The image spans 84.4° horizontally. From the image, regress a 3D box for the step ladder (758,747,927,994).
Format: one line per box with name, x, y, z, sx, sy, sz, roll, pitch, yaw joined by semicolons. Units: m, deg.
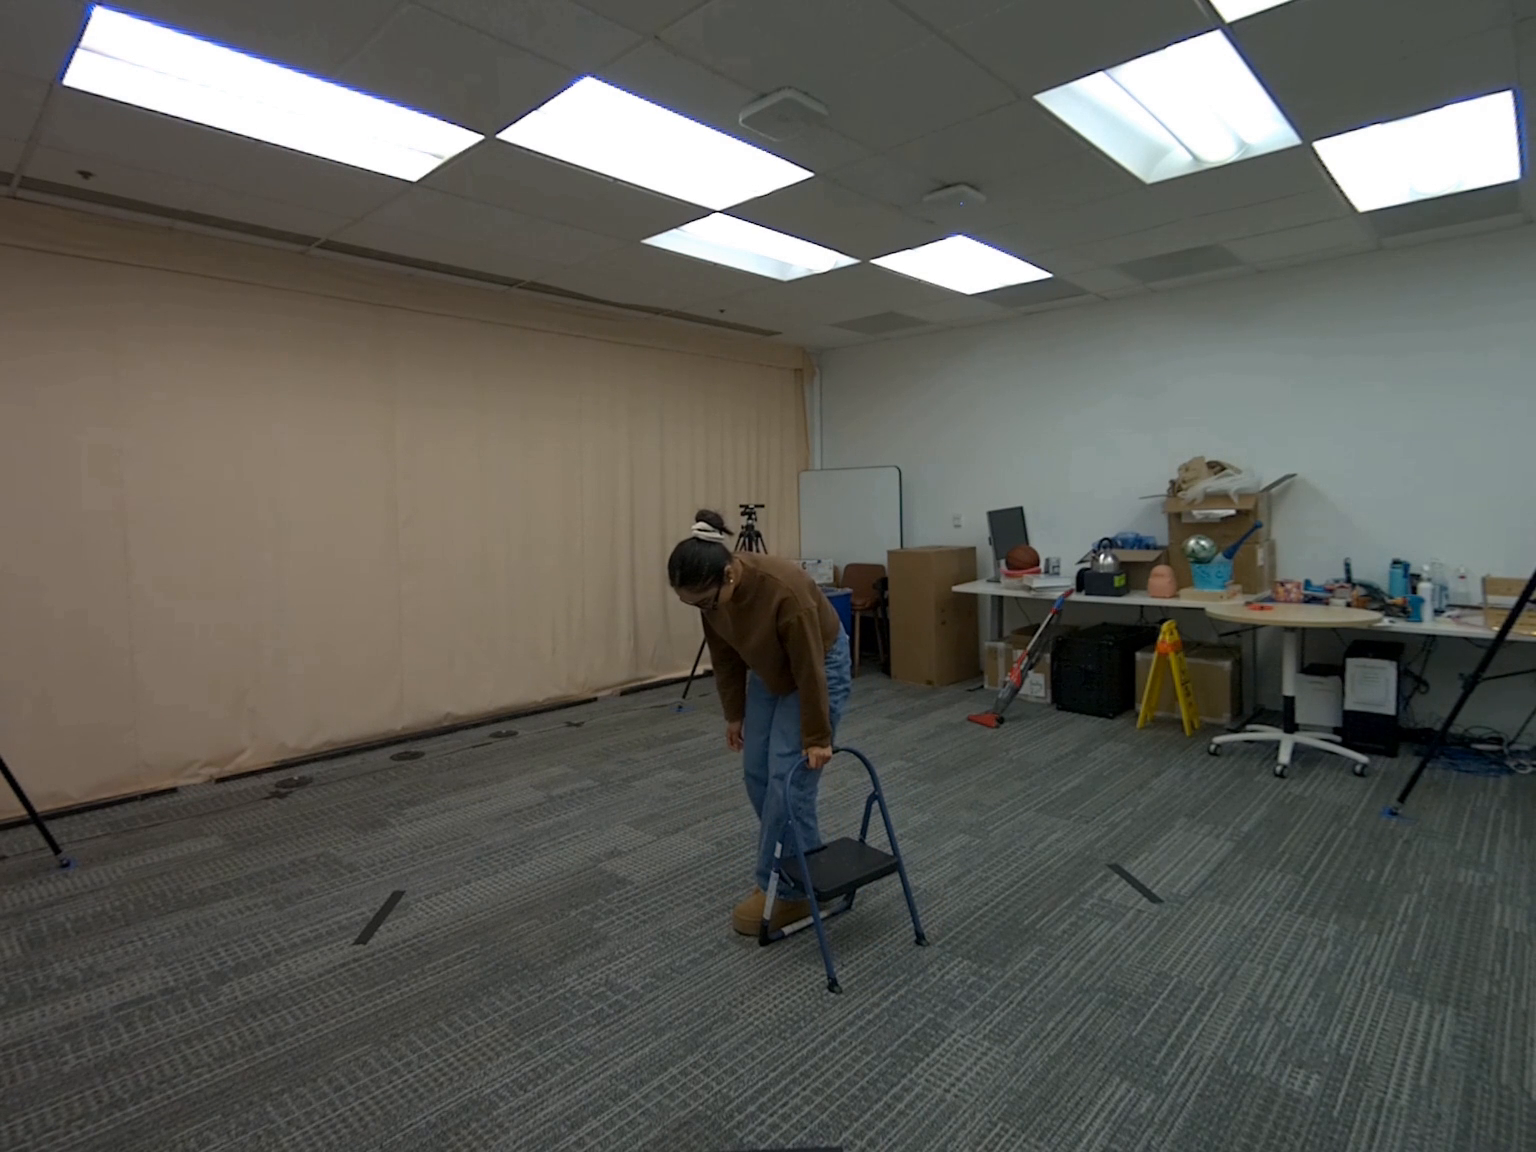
step ladder;0.240;0.862;2.635;0.418;0.605;0.360;-4;4;-40
